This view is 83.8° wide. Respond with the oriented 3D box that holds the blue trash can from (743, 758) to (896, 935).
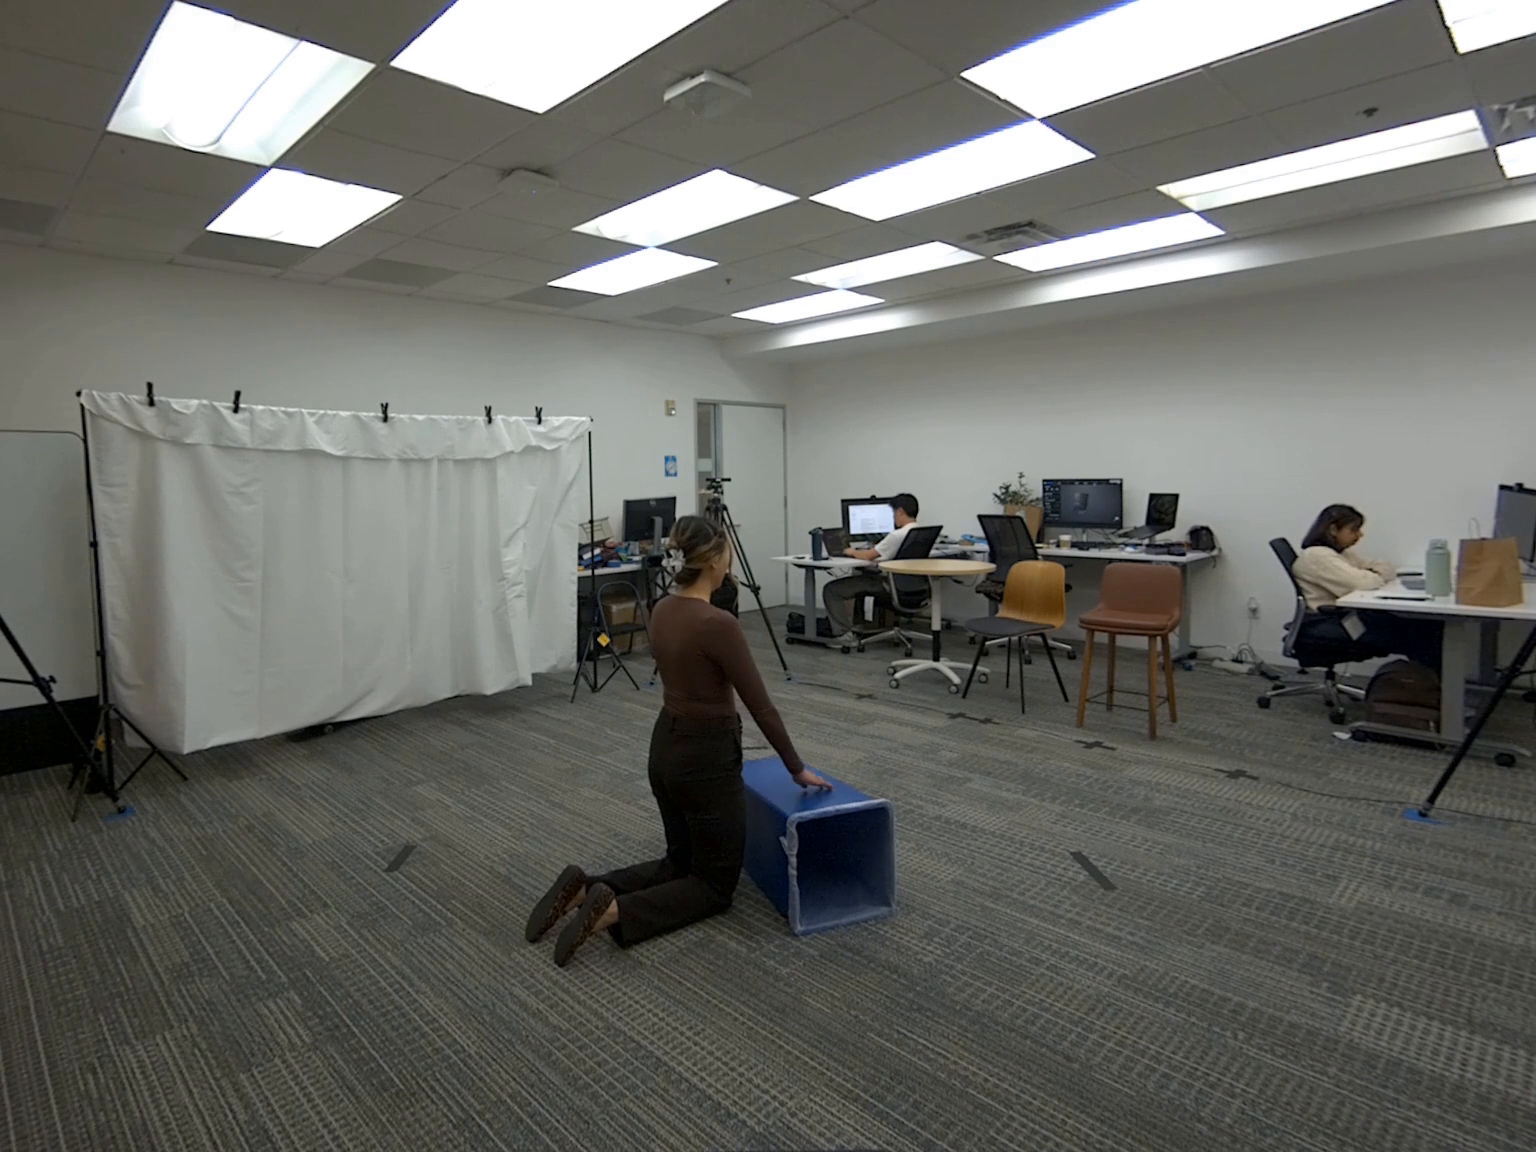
[{"bbox_3d":[0.104,0.878,2.990,0.367,0.377,0.729,-4,5,-21],"label":"blue trash can"}]
